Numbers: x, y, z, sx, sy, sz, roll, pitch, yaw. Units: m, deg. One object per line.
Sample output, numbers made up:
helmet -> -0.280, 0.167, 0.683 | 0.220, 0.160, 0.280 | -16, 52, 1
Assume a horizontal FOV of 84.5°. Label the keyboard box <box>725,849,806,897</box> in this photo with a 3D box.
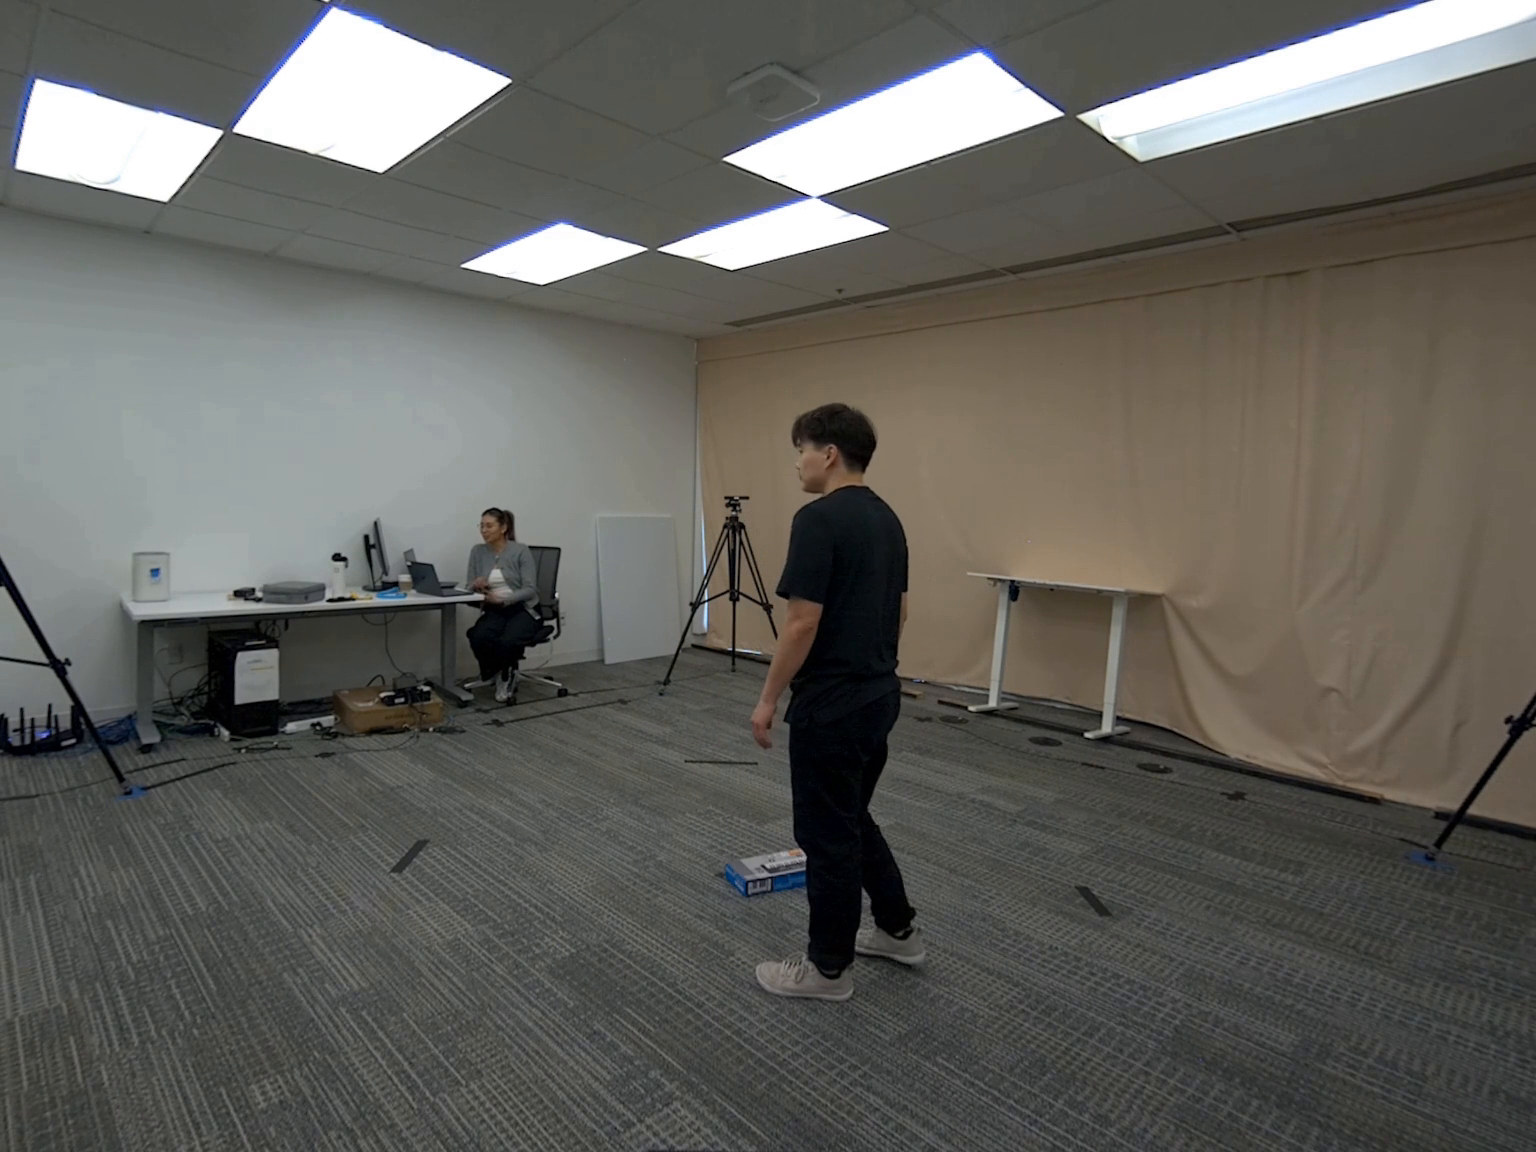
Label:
keyboard box -> 0.066, 1.078, 3.100 | 0.429, 0.059, 0.179 | -1, 5, -26
